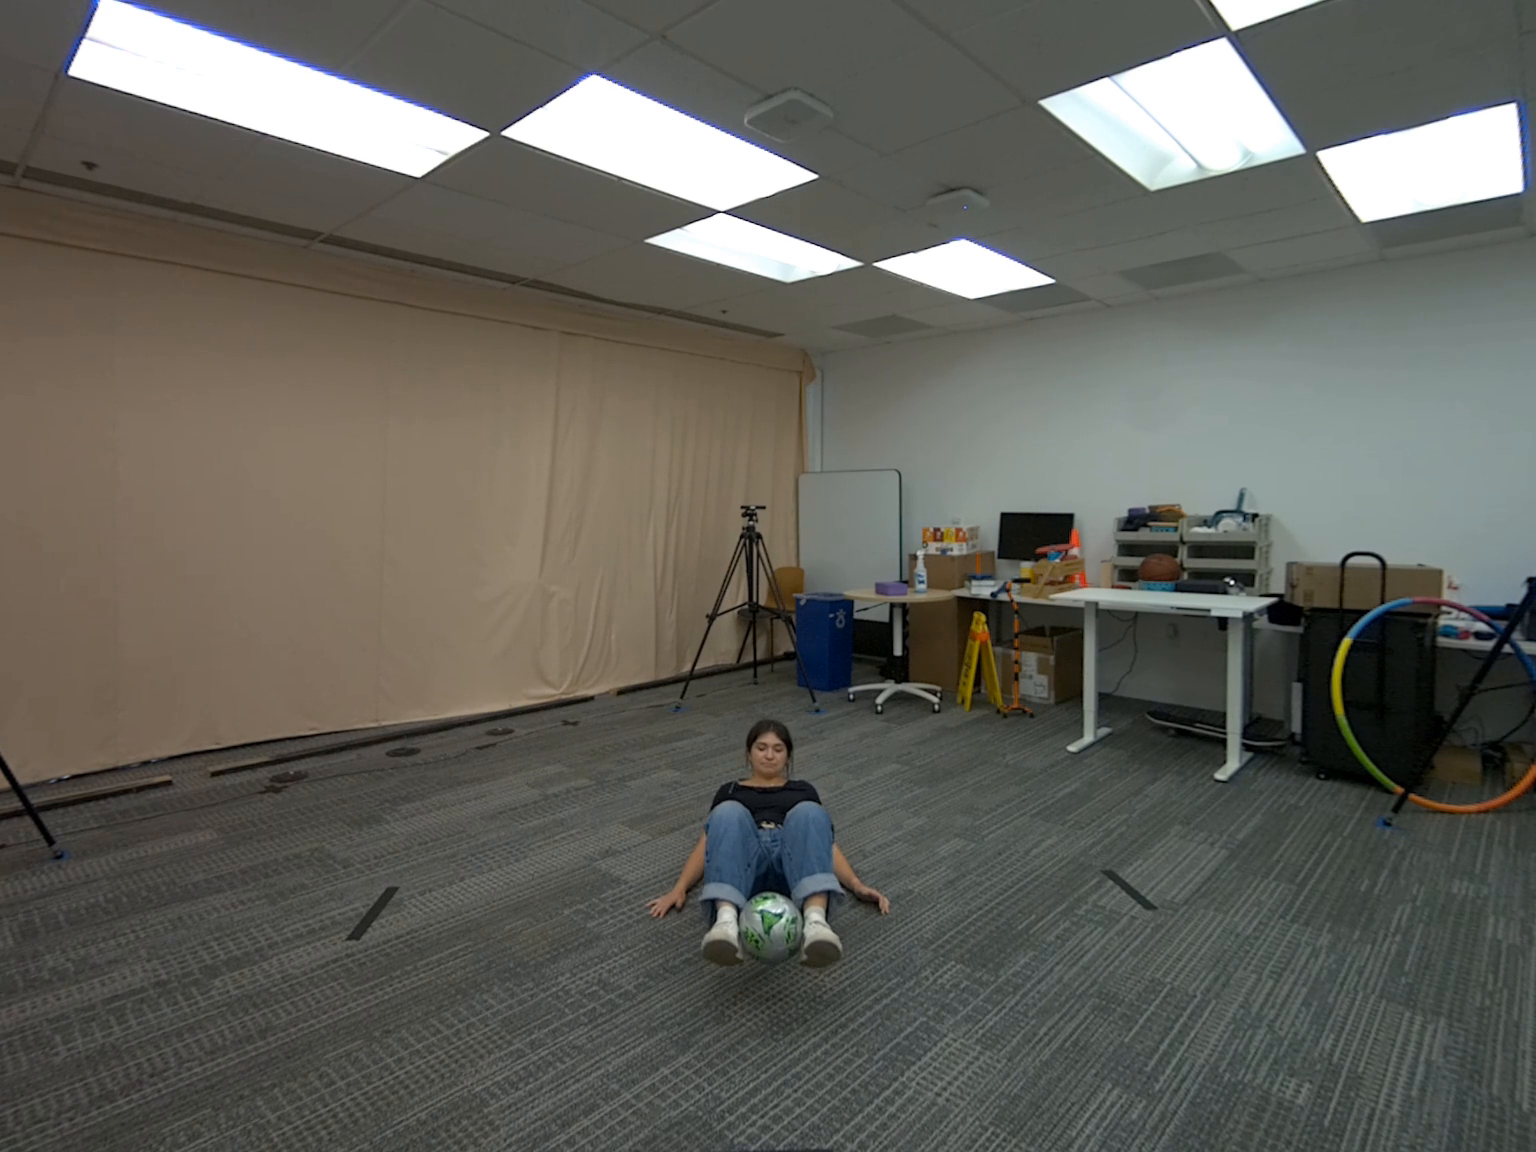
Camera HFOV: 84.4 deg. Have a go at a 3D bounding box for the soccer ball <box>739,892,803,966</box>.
[{"bbox_3d":[0.015,0.986,2.381,0.187,0.187,0.188,3,4,-2],"label":"soccer ball"}]
